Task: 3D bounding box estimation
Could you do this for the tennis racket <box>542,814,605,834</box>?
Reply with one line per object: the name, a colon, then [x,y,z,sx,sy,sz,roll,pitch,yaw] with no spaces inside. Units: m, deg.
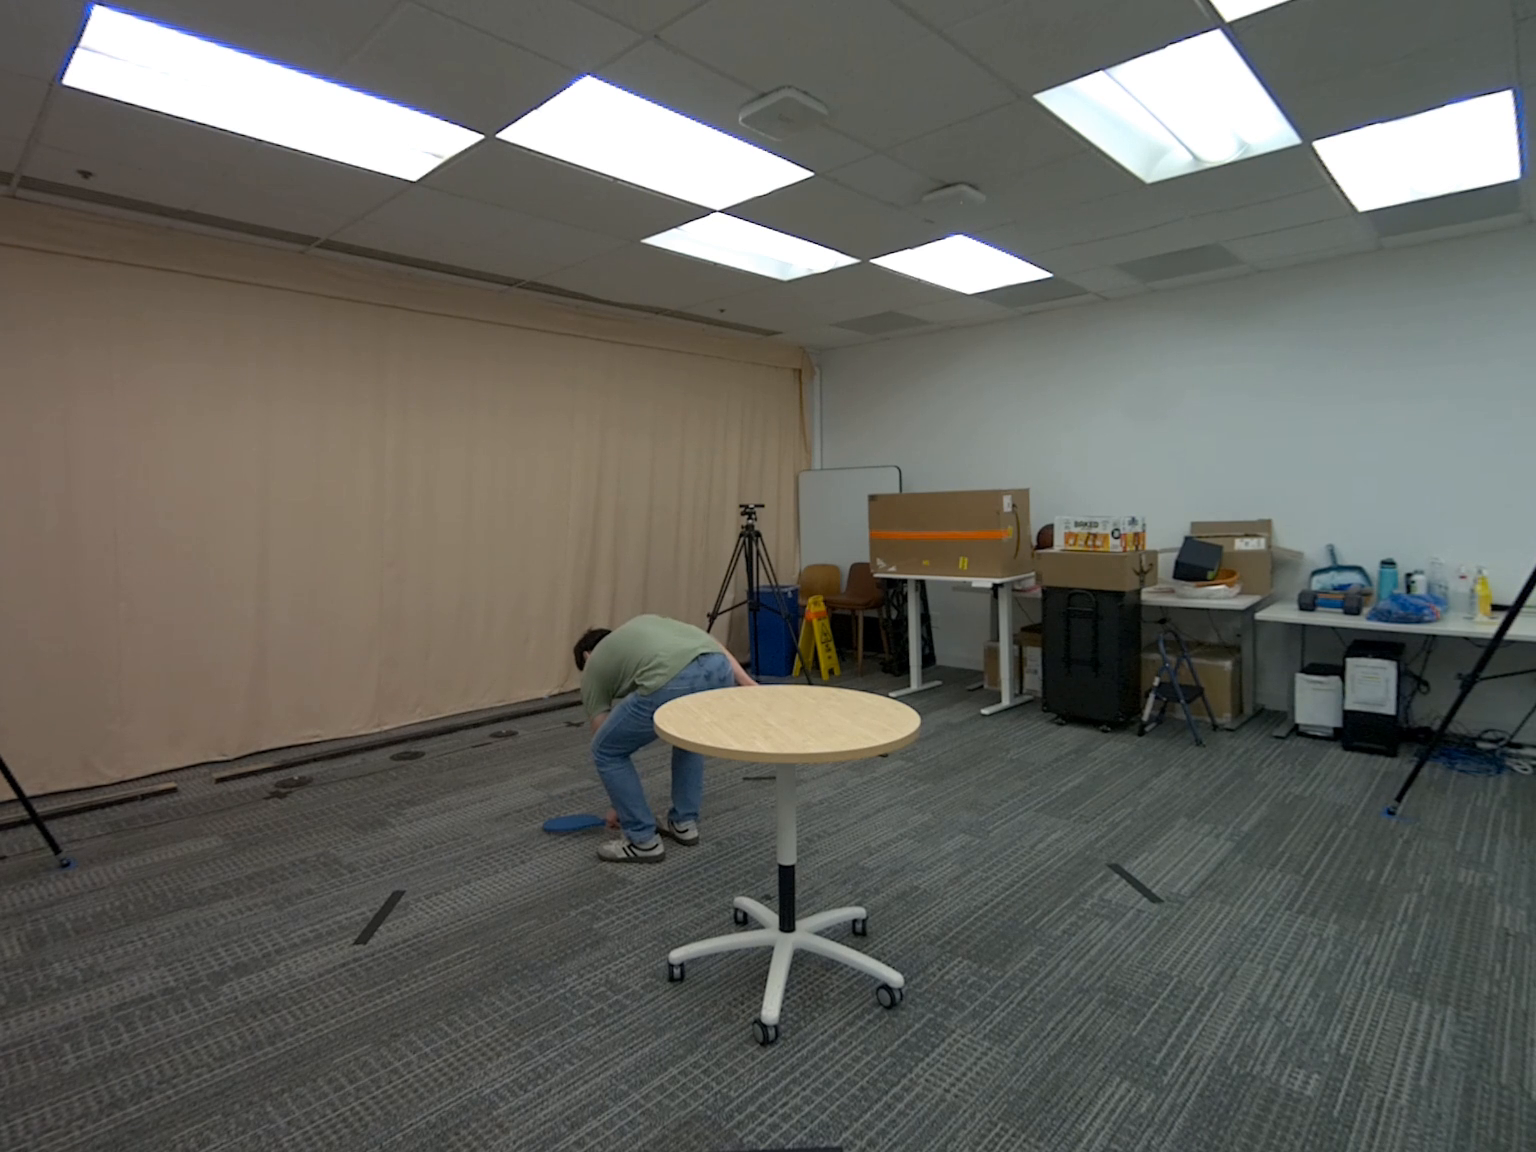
tennis racket: [-0.794,1.067,3.638,0.444,0.032,0.208,-7,-1,28]
